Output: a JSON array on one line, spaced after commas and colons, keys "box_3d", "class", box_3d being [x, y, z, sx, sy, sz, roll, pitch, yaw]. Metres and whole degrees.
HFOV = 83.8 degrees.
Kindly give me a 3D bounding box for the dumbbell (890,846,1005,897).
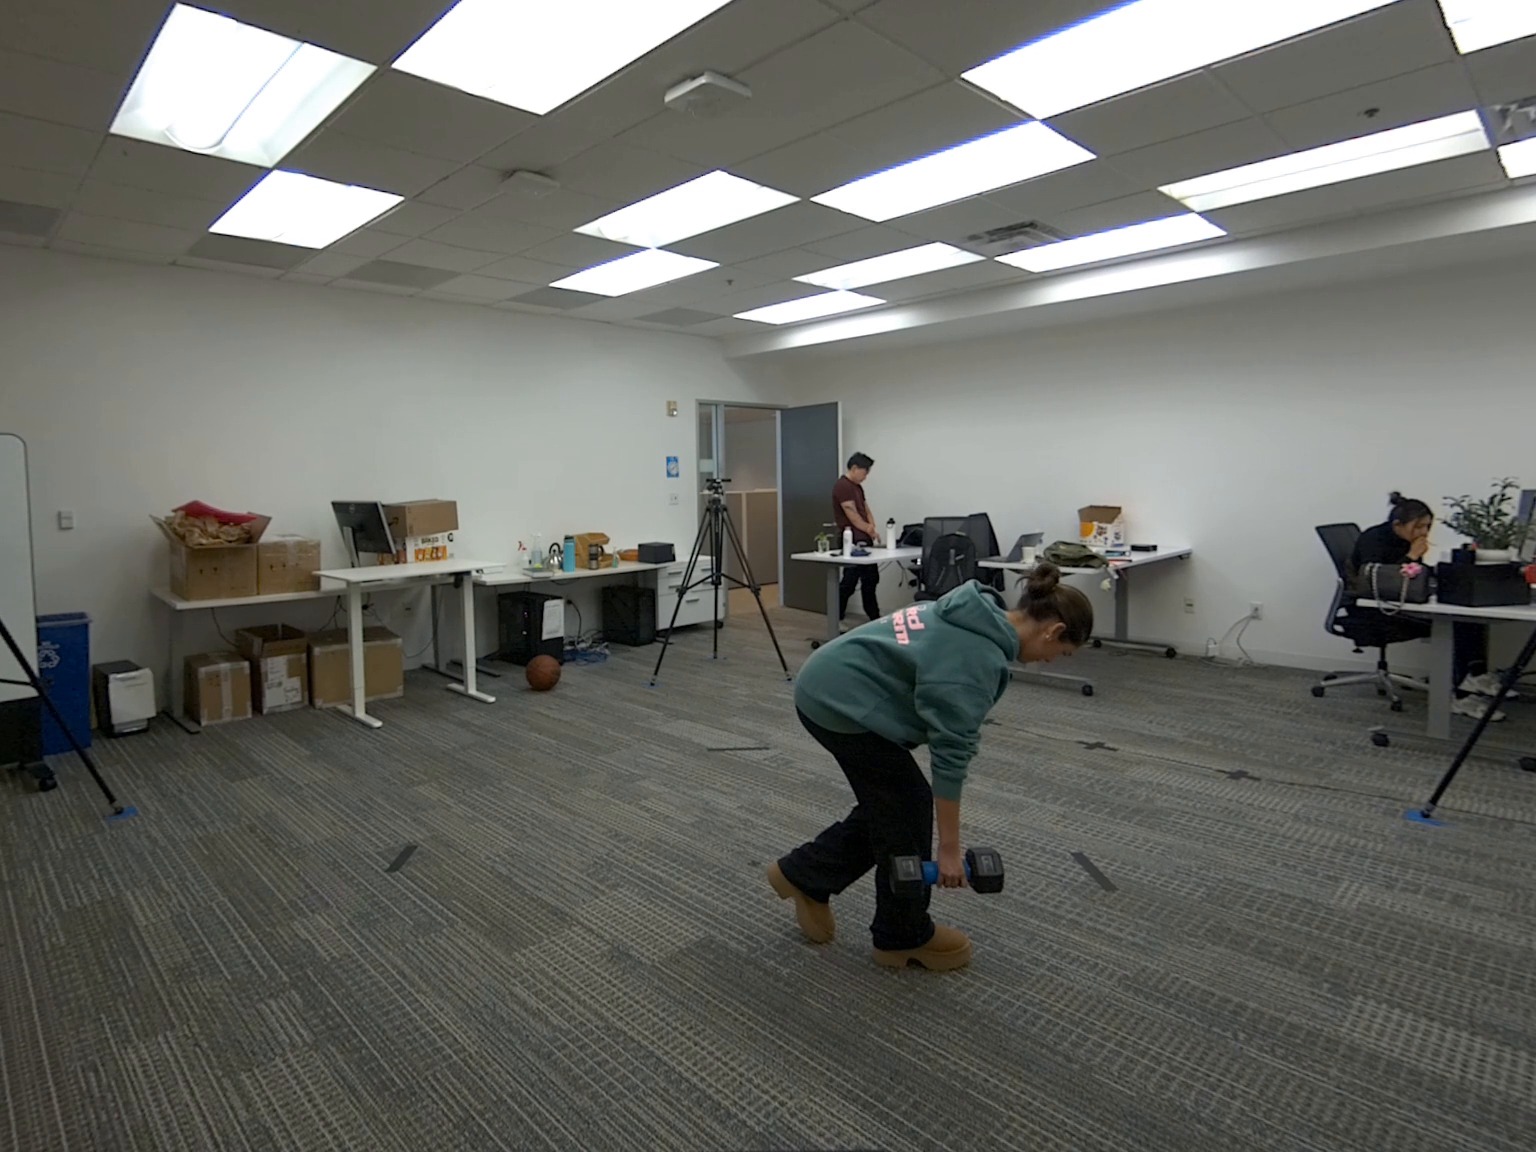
[{"box_3d": [0.487, 0.796, 2.303, 0.293, 0.120, 0.111, -4, 23, 0], "class": "dumbbell"}]
